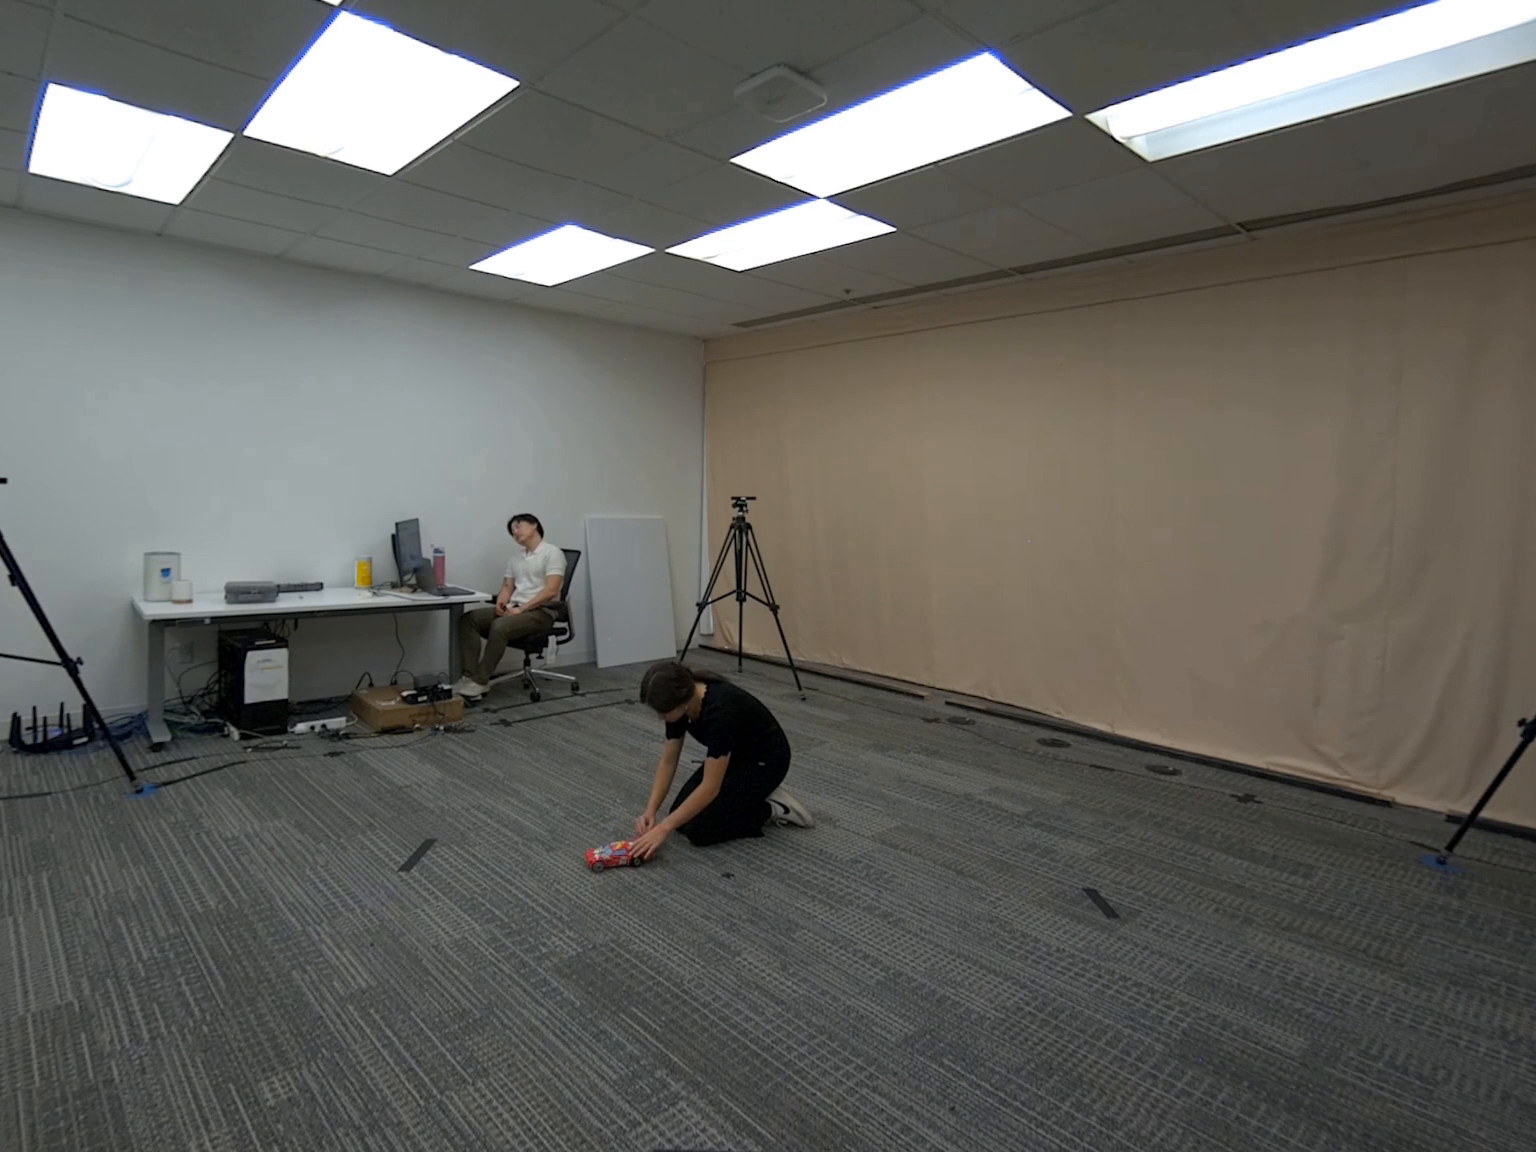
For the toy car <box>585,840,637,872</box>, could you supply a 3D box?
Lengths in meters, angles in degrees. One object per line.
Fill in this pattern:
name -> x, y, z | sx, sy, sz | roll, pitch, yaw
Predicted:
toy car -> -0.562, 1.055, 3.187 | 0.251, 0.083, 0.132 | -10, 8, -19
